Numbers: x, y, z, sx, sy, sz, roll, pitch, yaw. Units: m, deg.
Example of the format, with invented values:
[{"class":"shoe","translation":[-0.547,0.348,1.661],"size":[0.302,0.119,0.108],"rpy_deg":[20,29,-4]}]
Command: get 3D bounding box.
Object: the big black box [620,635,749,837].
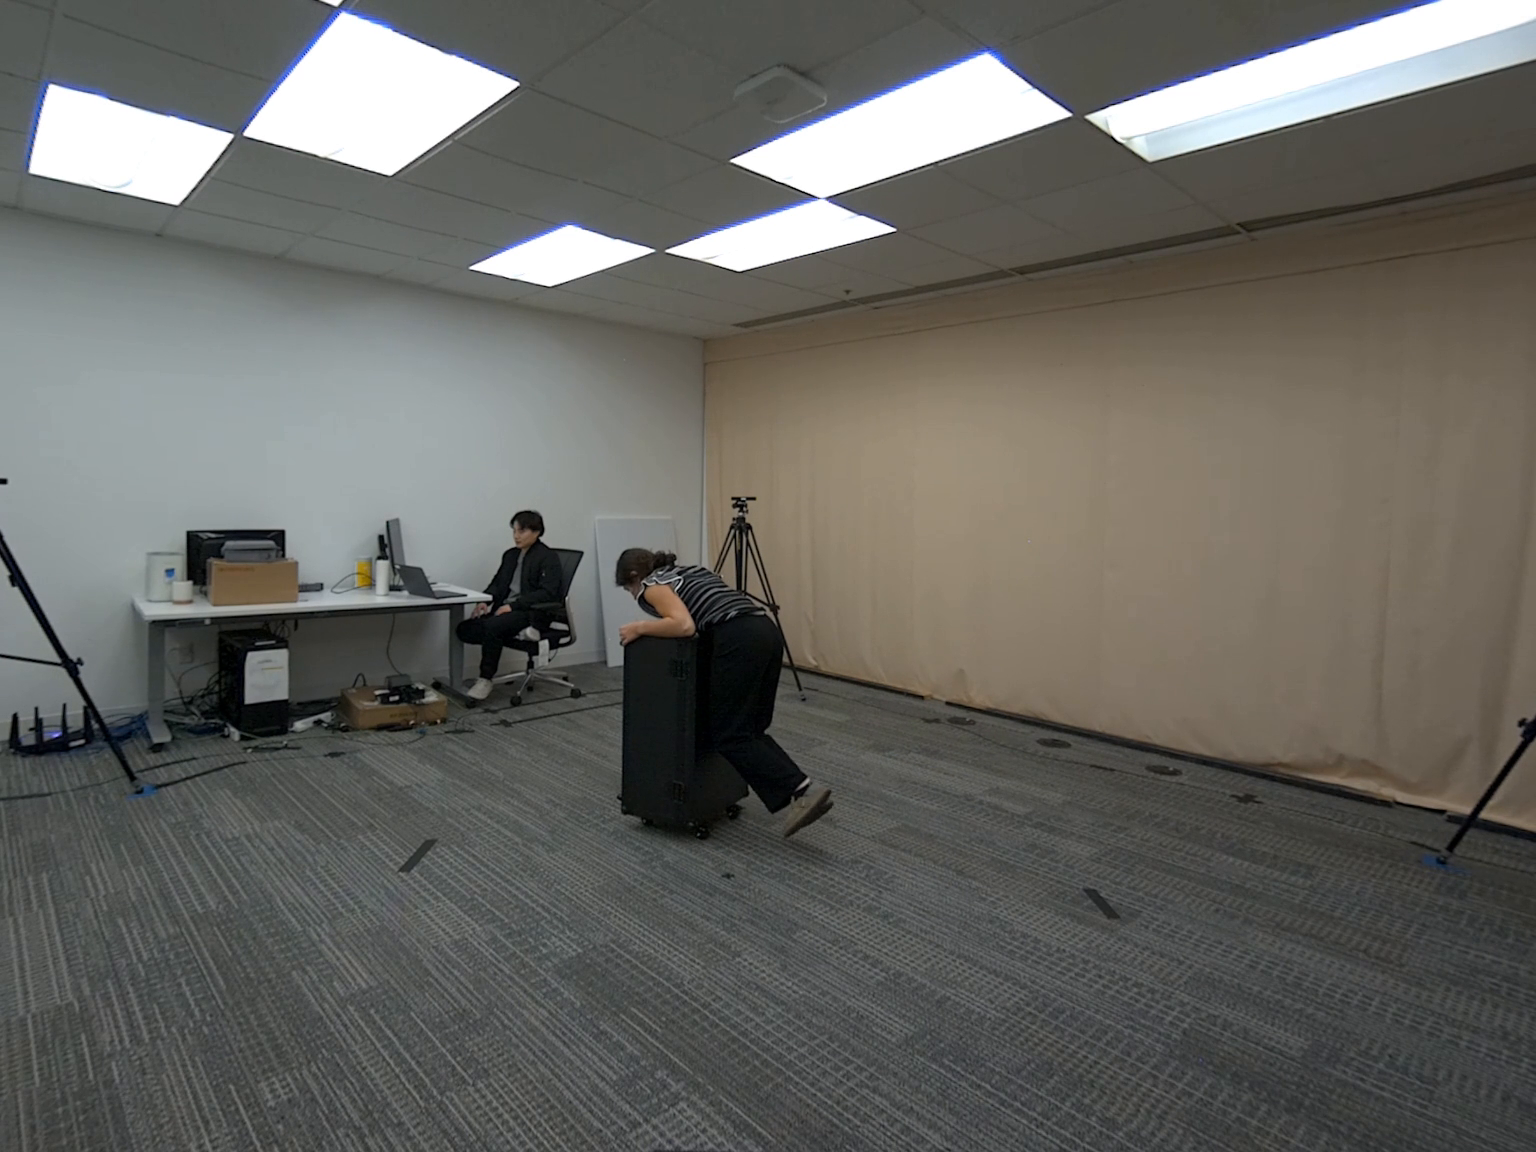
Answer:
[{"class":"big black box","translation":[-0.372,0.647,3.630],"size":[0.404,0.860,0.512],"rpy_deg":[3,3,27]}]
